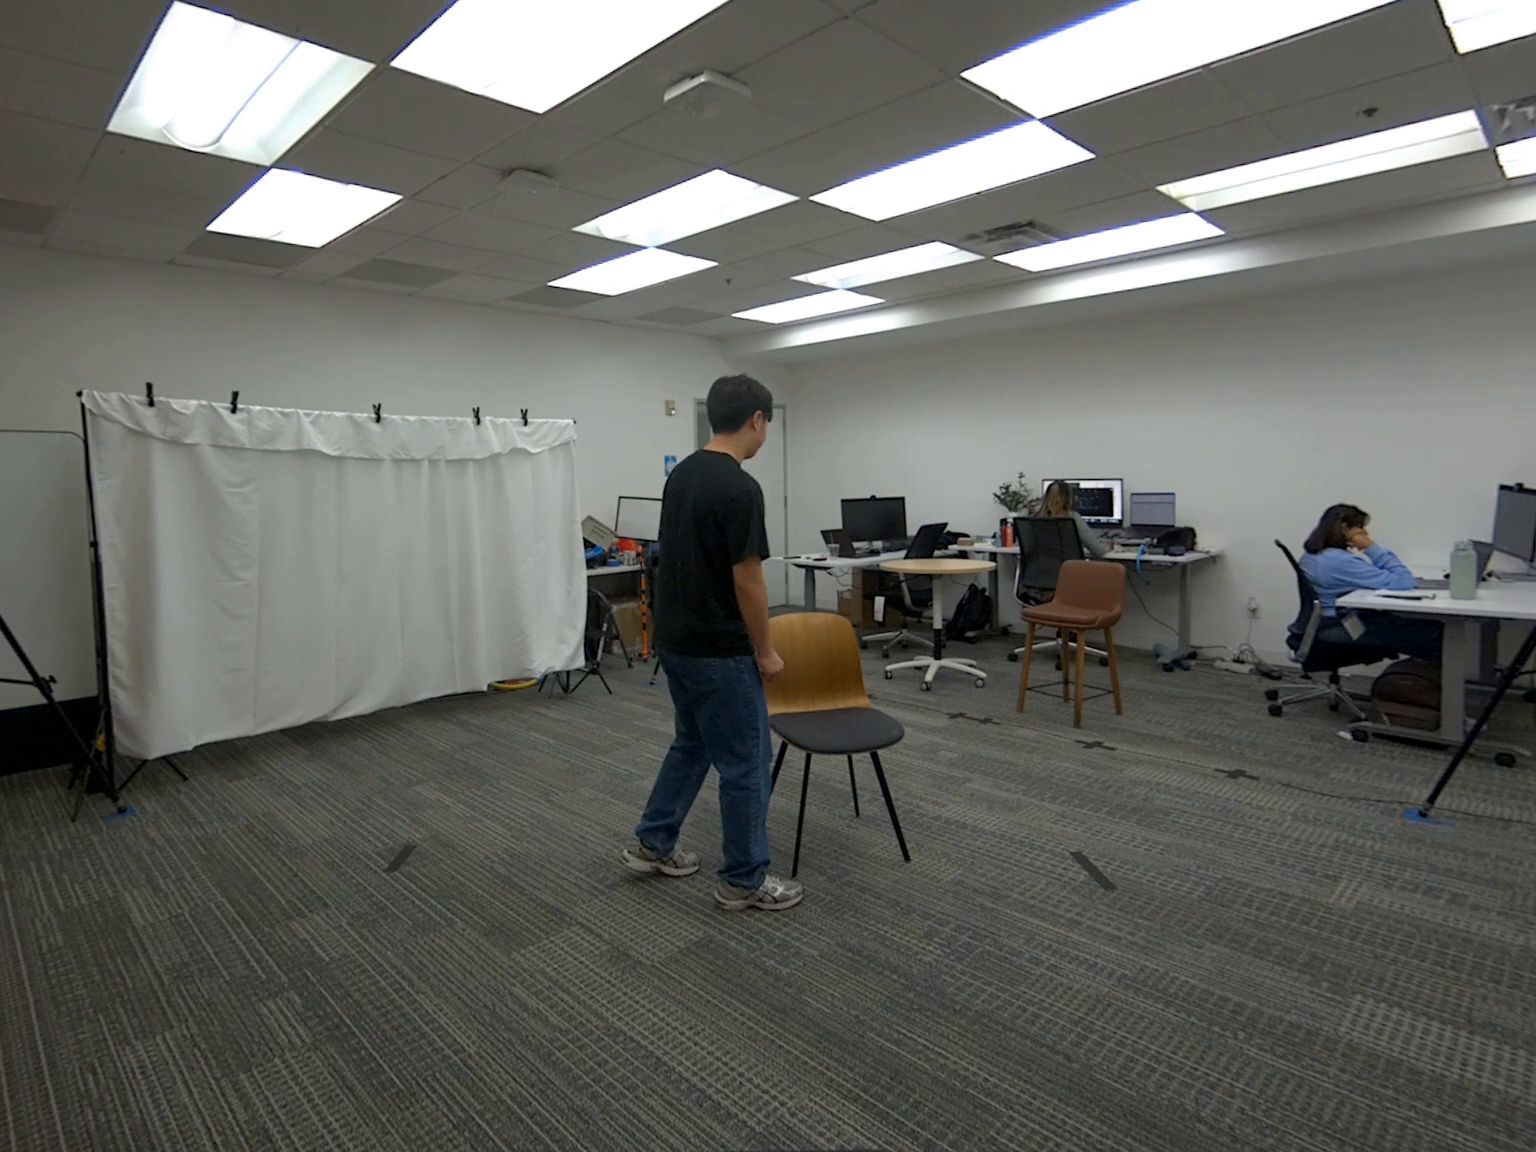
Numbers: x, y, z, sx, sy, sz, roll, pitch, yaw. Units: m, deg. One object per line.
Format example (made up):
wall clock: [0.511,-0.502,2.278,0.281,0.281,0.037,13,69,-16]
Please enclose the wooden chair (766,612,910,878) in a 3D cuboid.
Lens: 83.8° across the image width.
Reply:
wooden chair: [0.227,0.596,3.220,0.471,0.878,0.531,-2,0,-16]
